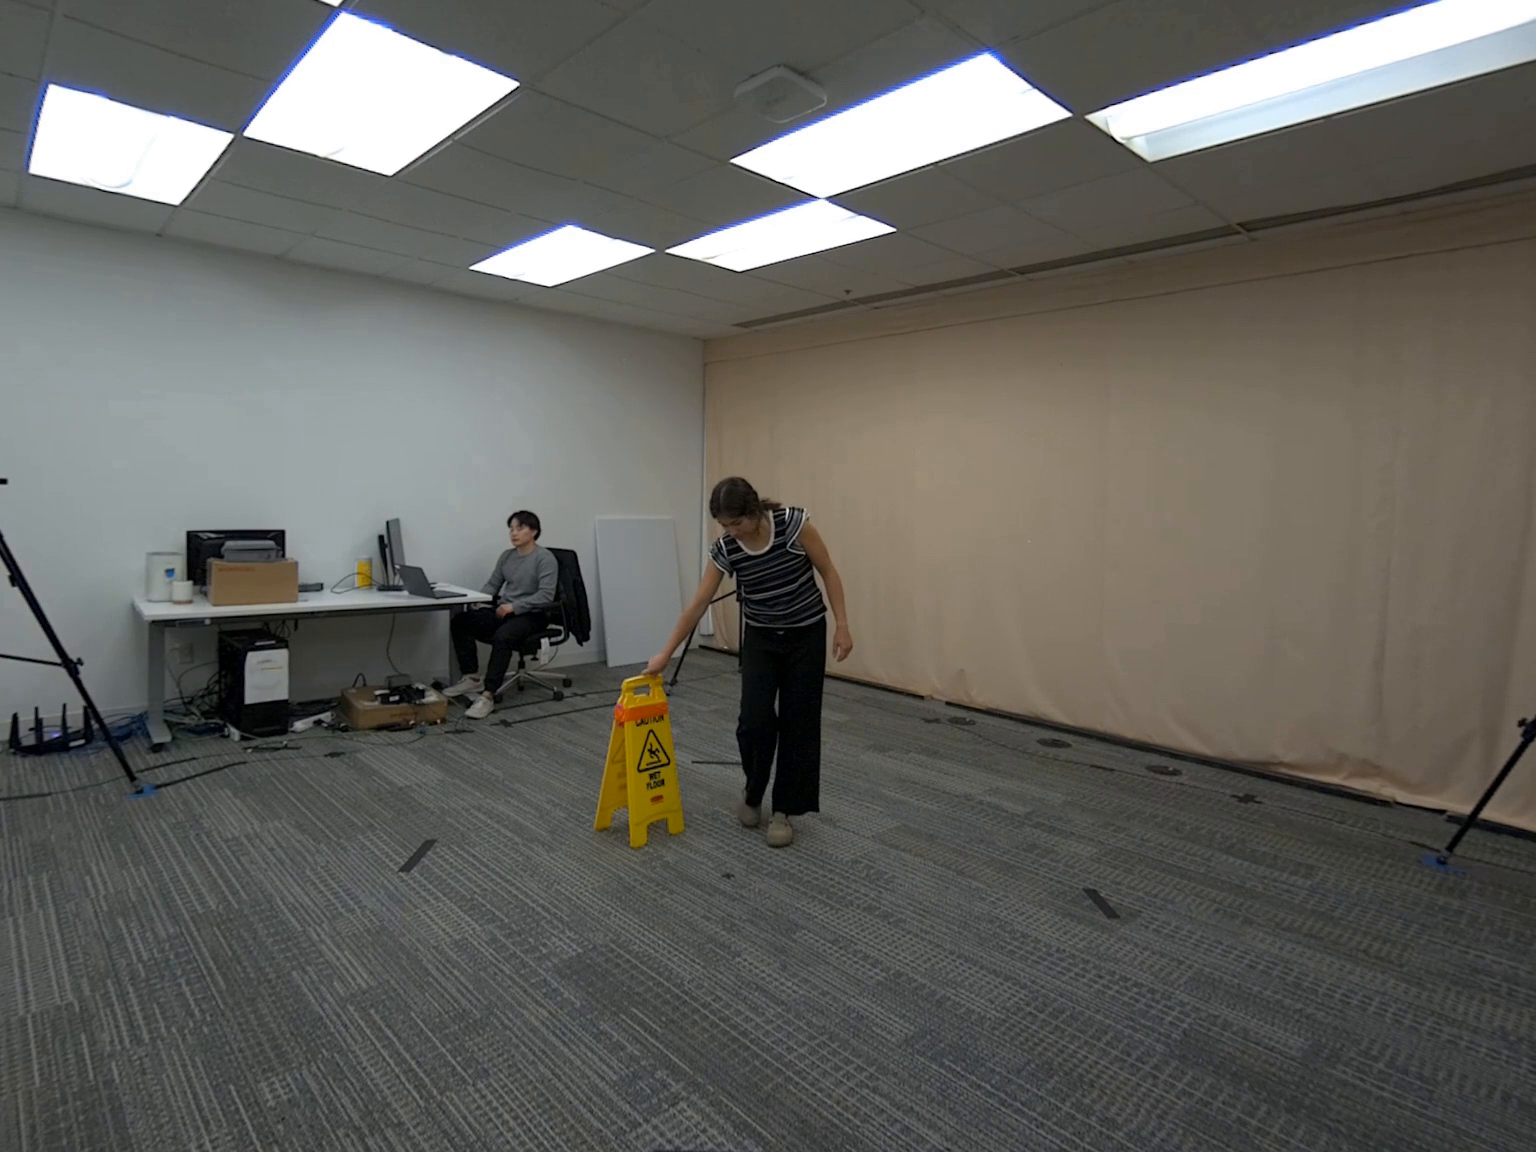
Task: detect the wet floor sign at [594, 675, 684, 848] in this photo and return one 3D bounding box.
[{"bbox_3d":[-0.535,0.735,3.493,0.297,0.645,0.275,4,3,43],"label":"wet floor sign"}]
